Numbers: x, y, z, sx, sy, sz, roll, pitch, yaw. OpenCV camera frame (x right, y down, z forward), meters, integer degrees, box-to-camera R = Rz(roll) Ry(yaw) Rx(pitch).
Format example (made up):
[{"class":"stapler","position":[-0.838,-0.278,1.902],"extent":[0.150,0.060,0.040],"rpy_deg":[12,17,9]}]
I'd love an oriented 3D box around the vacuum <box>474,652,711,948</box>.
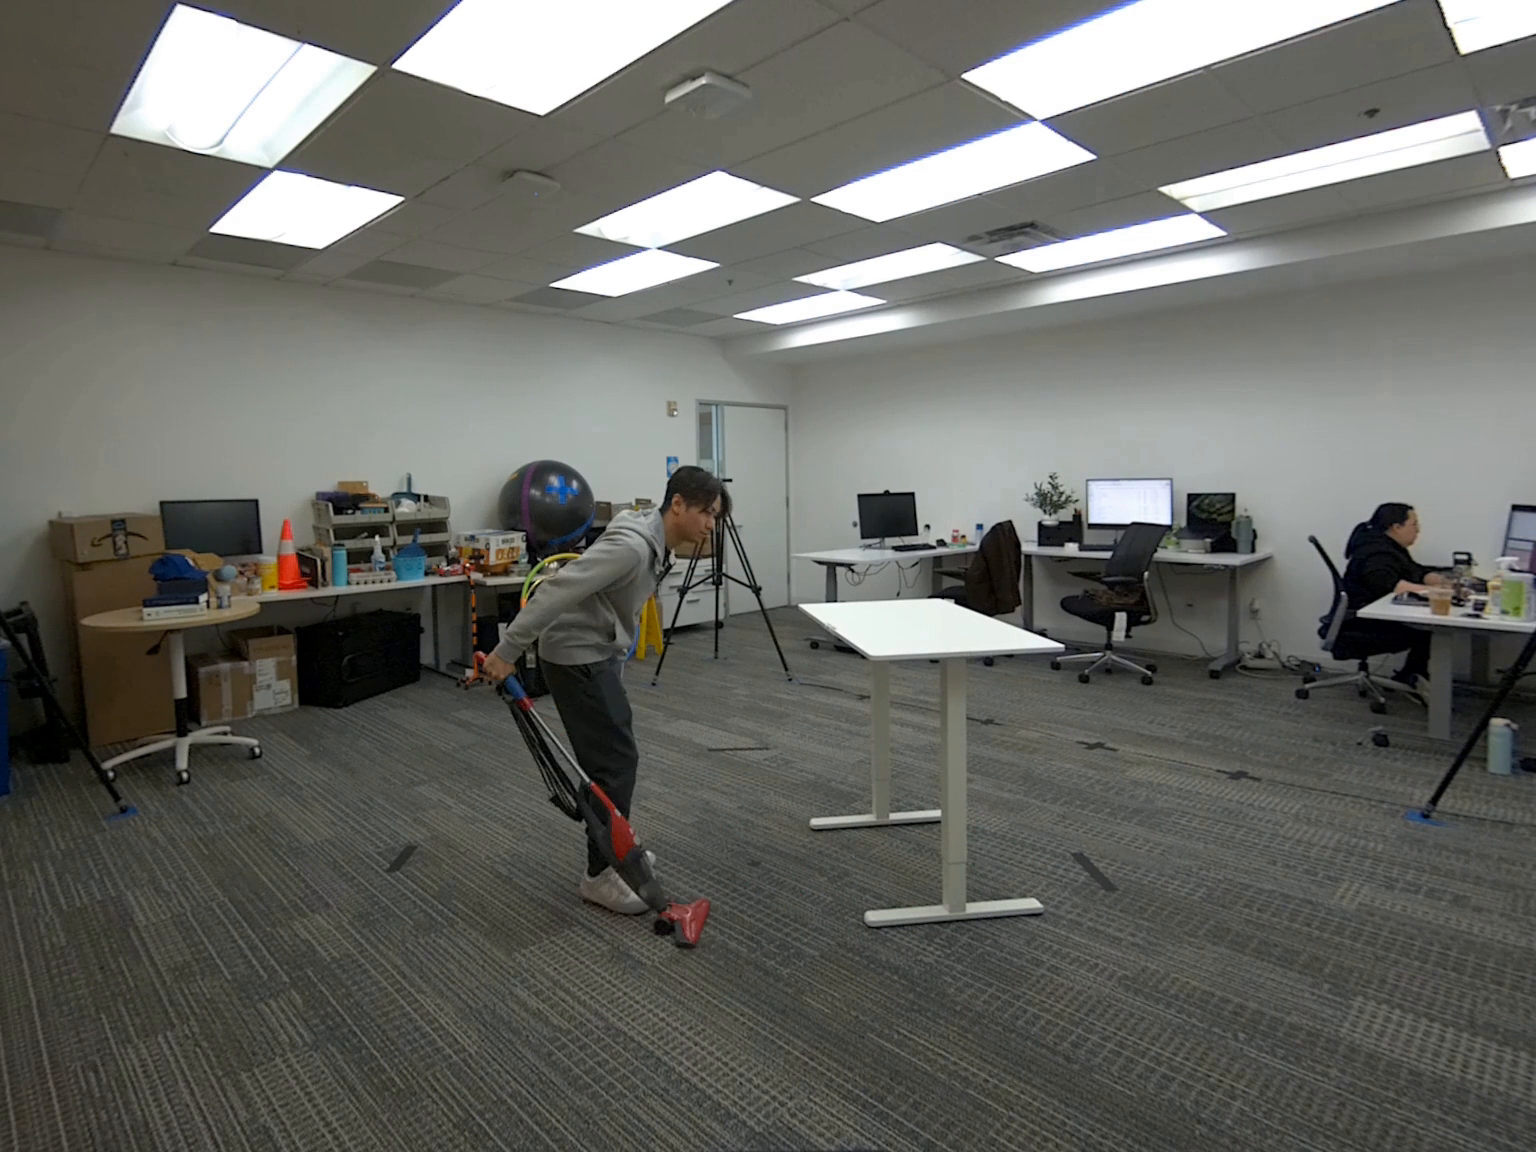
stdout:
[{"class":"vacuum","position":[-0.580,0.701,2.700],"extent":[0.144,1.052,0.251],"rpy_deg":[-42,-2,11]}]
